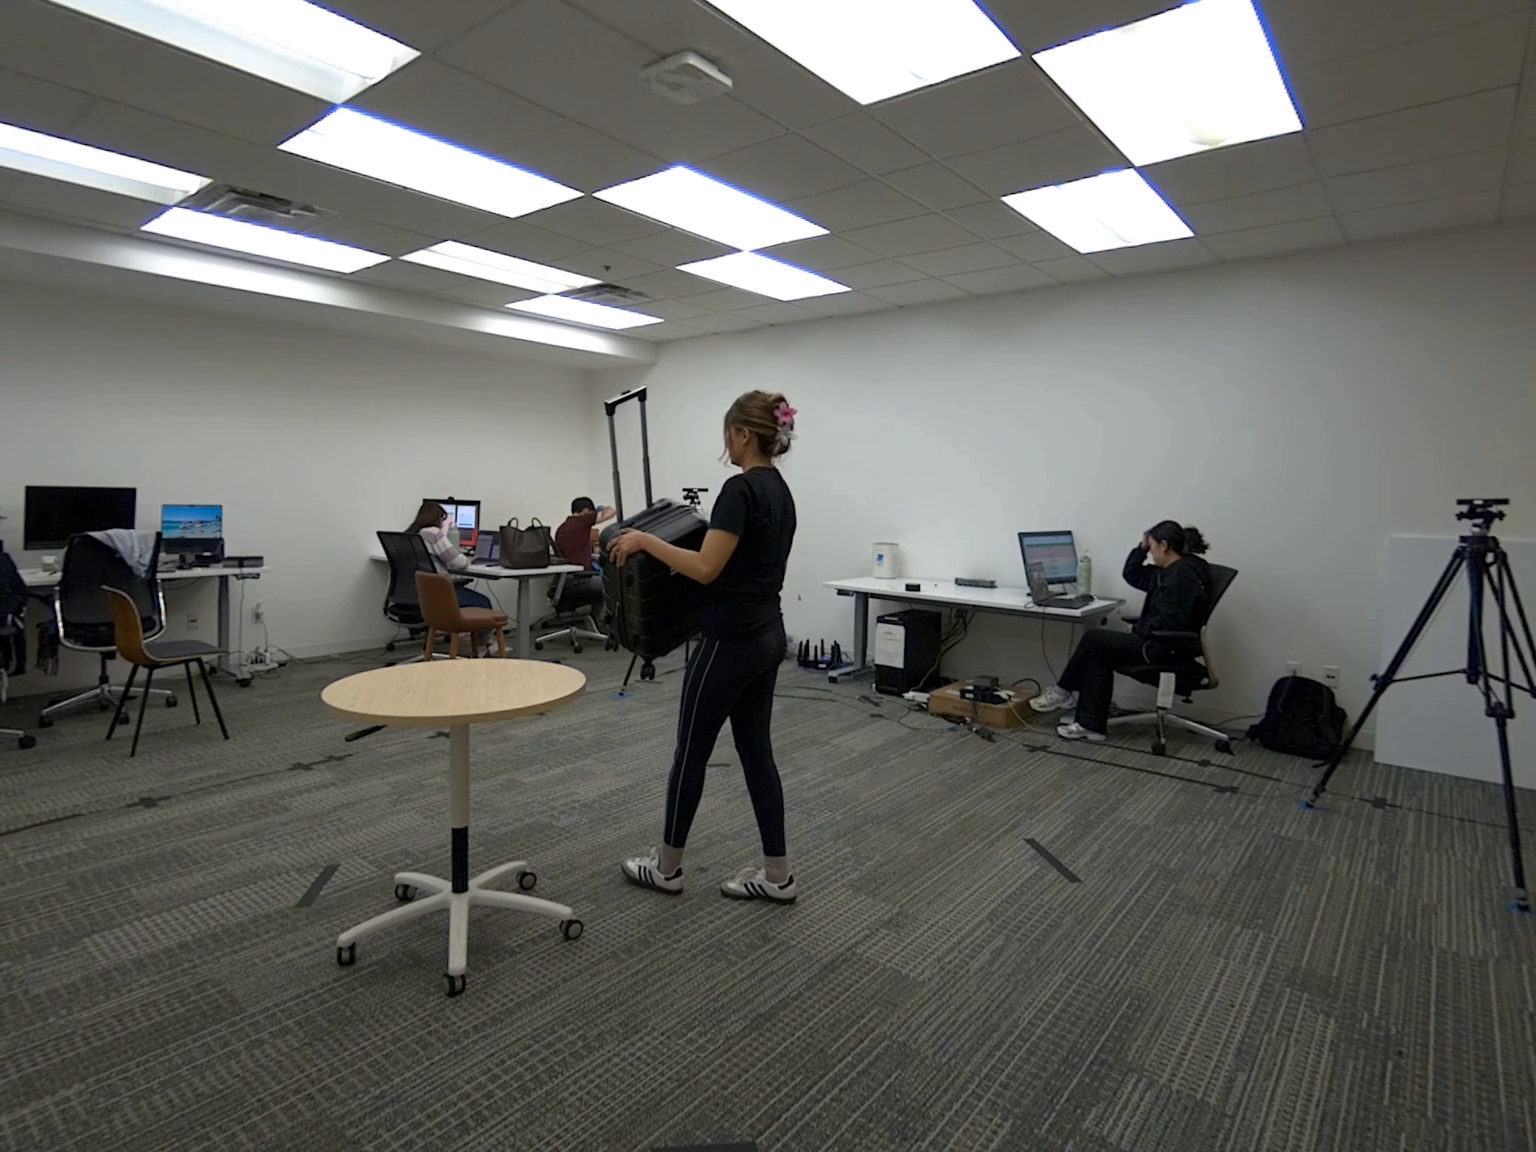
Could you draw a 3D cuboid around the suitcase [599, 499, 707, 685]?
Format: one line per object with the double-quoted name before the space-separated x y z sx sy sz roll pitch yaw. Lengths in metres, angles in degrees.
"suitcase" -0.400 -0.156 2.899 0.378 0.953 0.268 -27 46 -35
